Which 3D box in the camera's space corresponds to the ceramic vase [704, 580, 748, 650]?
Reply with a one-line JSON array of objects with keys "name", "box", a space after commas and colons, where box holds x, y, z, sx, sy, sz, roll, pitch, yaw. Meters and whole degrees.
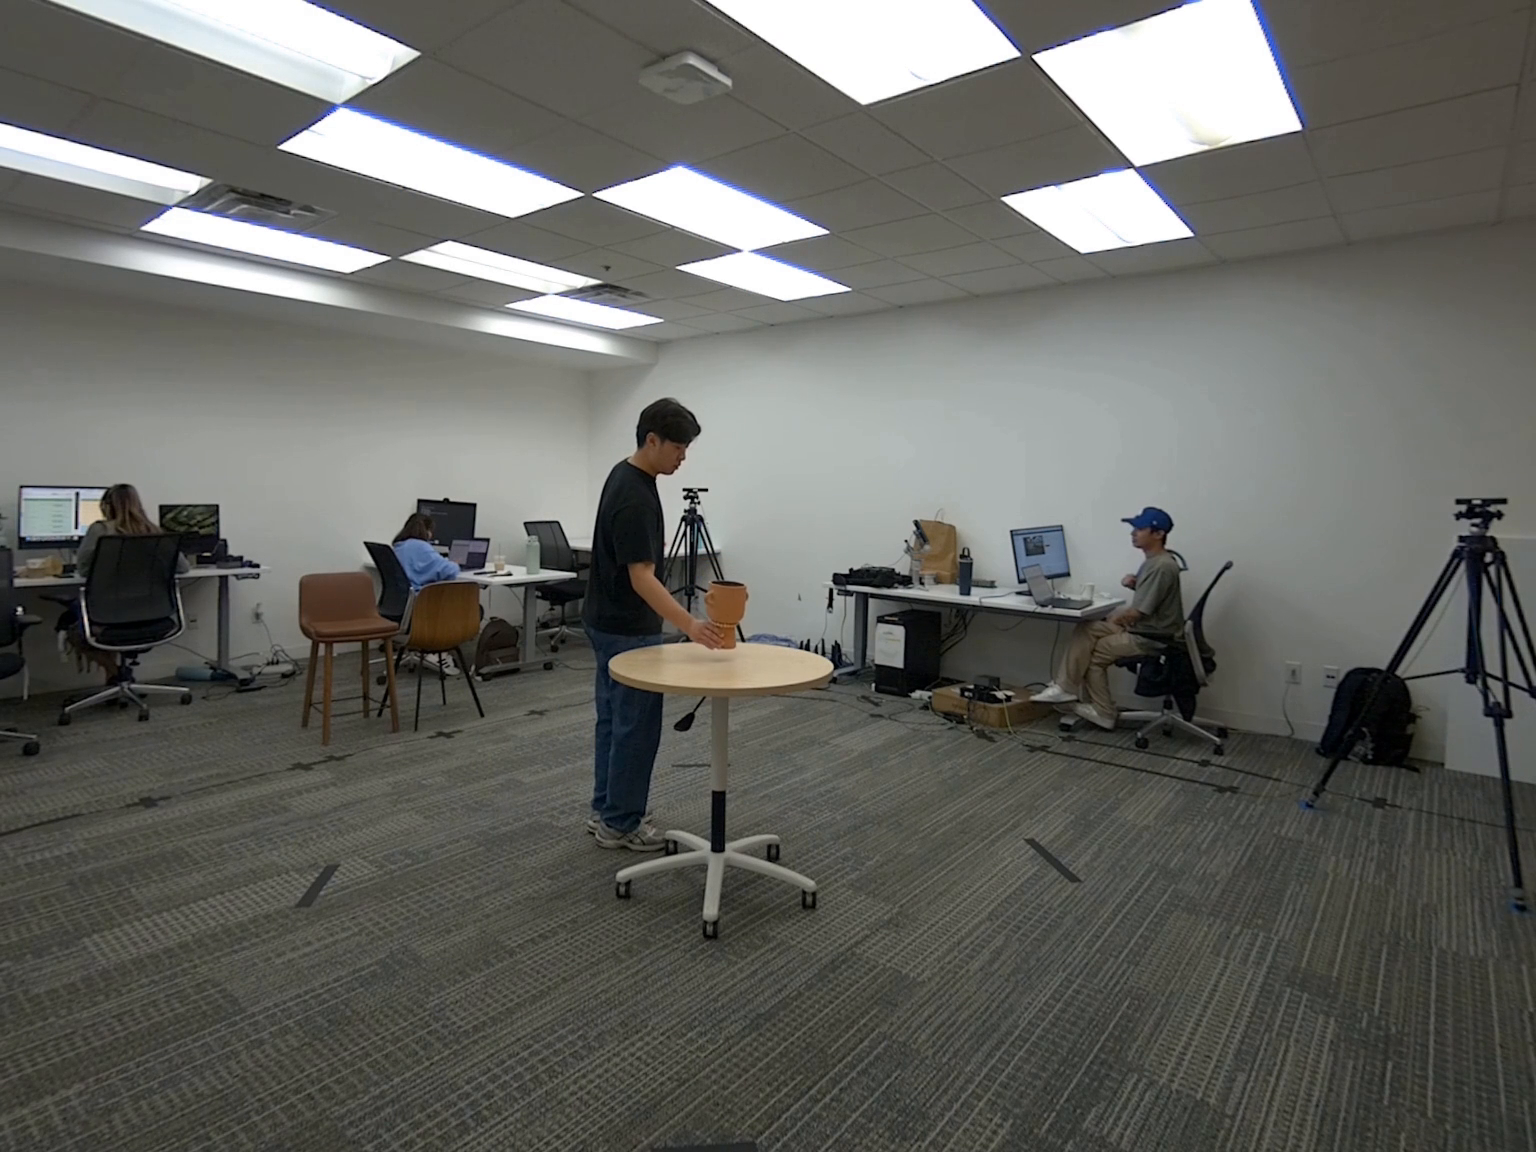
[{"name": "ceramic vase", "box": [-0.161, 0.131, 2.944, 0.158, 0.219, 0.136, 6, 6, -3]}]
